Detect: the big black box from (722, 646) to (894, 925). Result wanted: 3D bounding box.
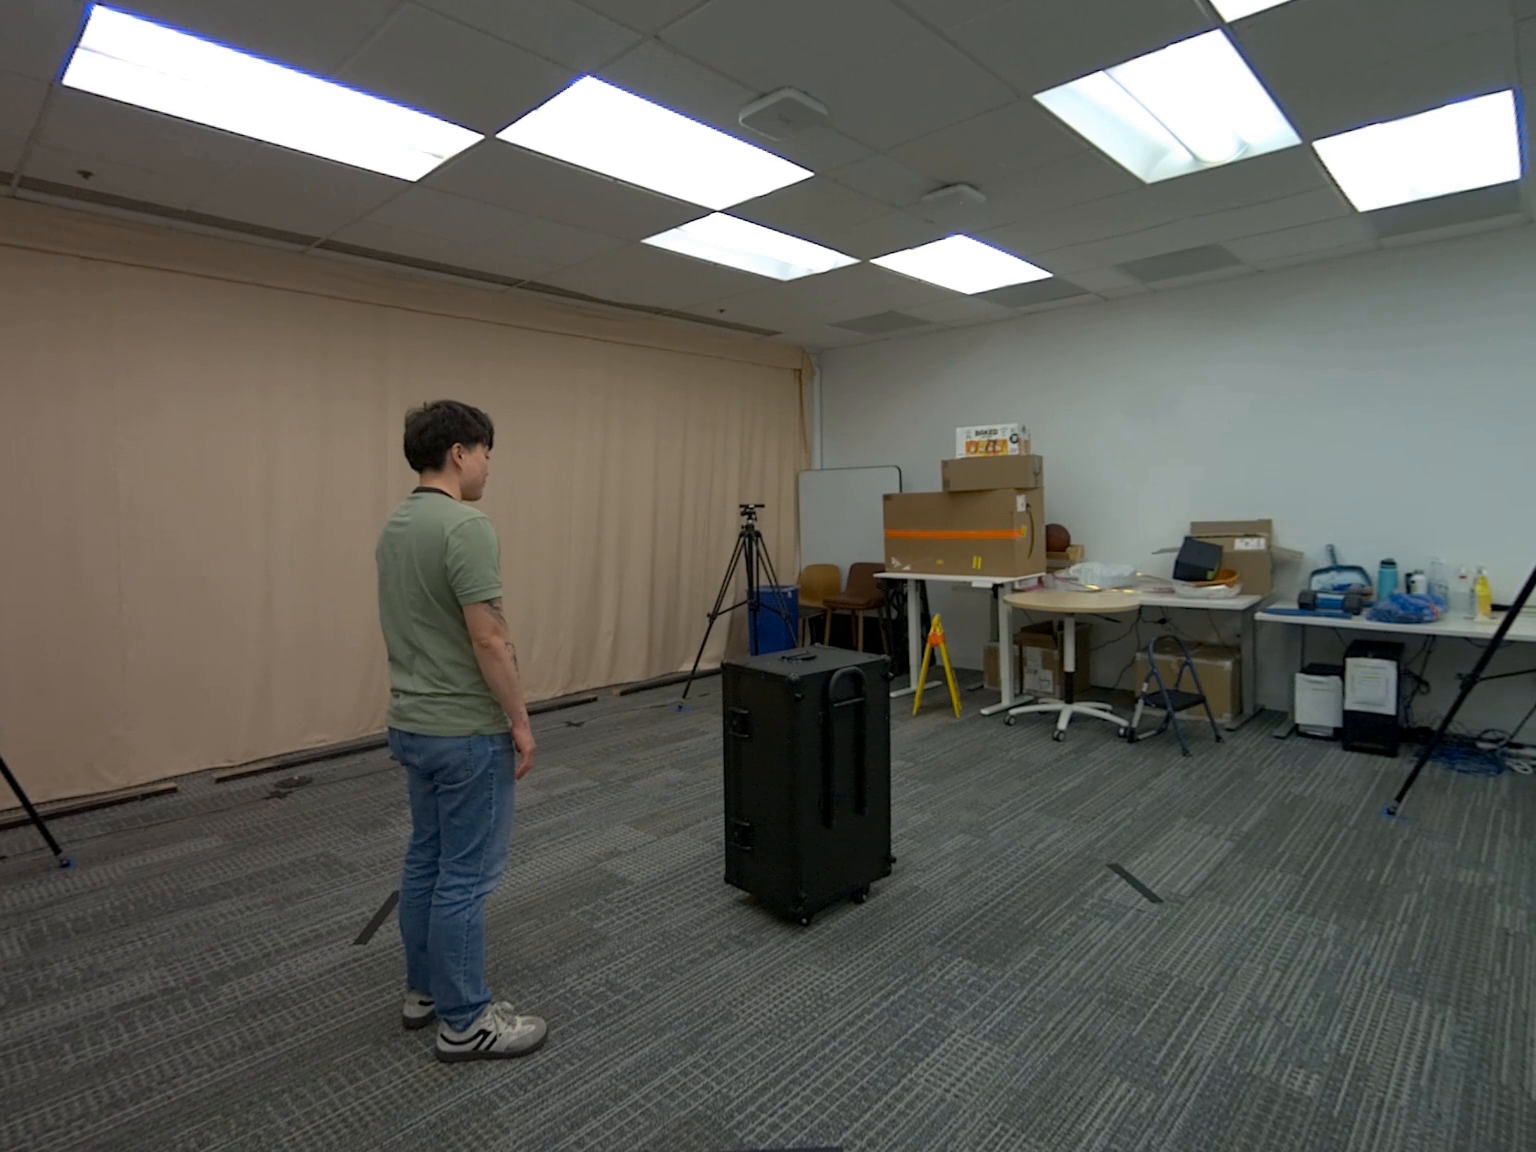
[{"bbox_3d":[0.156,0.714,2.946,0.505,0.859,0.409,-4,6,-42],"label":"big black box"}]
